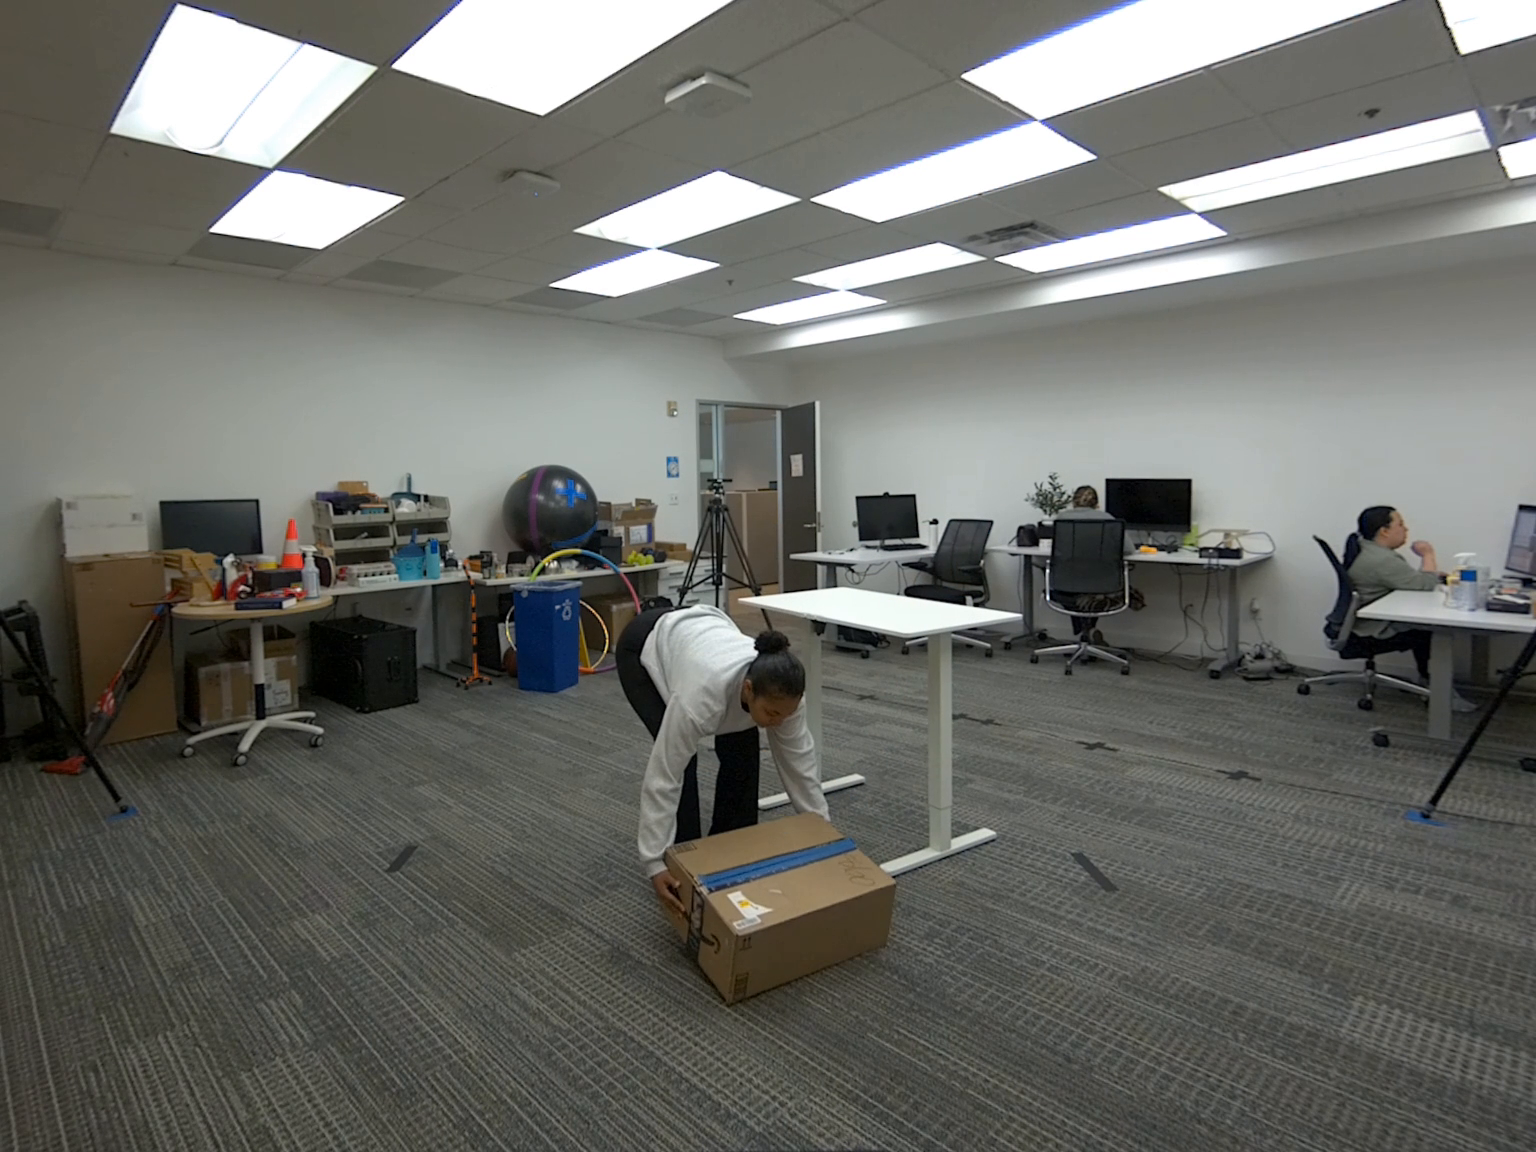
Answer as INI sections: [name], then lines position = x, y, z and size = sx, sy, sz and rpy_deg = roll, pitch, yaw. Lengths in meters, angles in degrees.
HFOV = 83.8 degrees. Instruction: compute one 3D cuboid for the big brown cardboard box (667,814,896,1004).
[big brown cardboard box]
position = 0.020, 0.960, 2.551
size = 0.574, 0.230, 0.433
rpy_deg = -4, 17, -33
